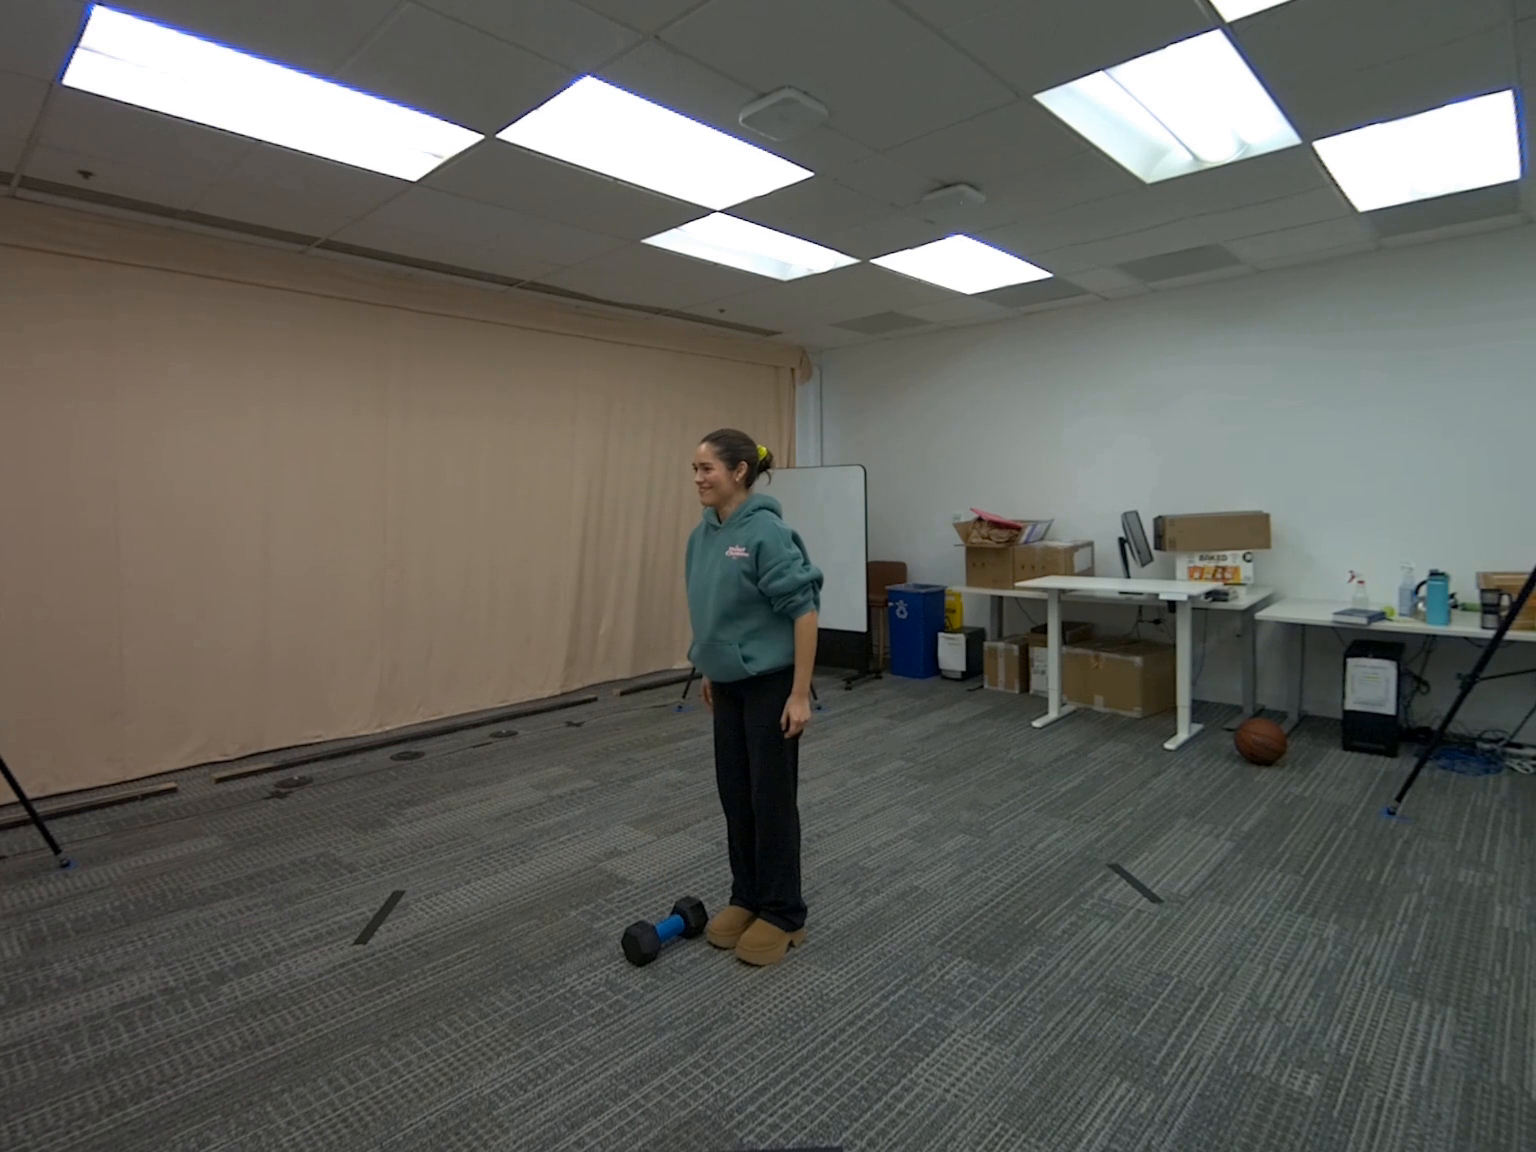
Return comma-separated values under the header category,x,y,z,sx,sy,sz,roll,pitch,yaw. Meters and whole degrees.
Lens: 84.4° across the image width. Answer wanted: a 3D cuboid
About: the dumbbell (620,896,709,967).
category,x,y,z,sx,sy,sz,roll,pitch,yaw
dumbbell,-0.322,1.126,2.663,0.285,0.125,0.110,-7,-24,-49
